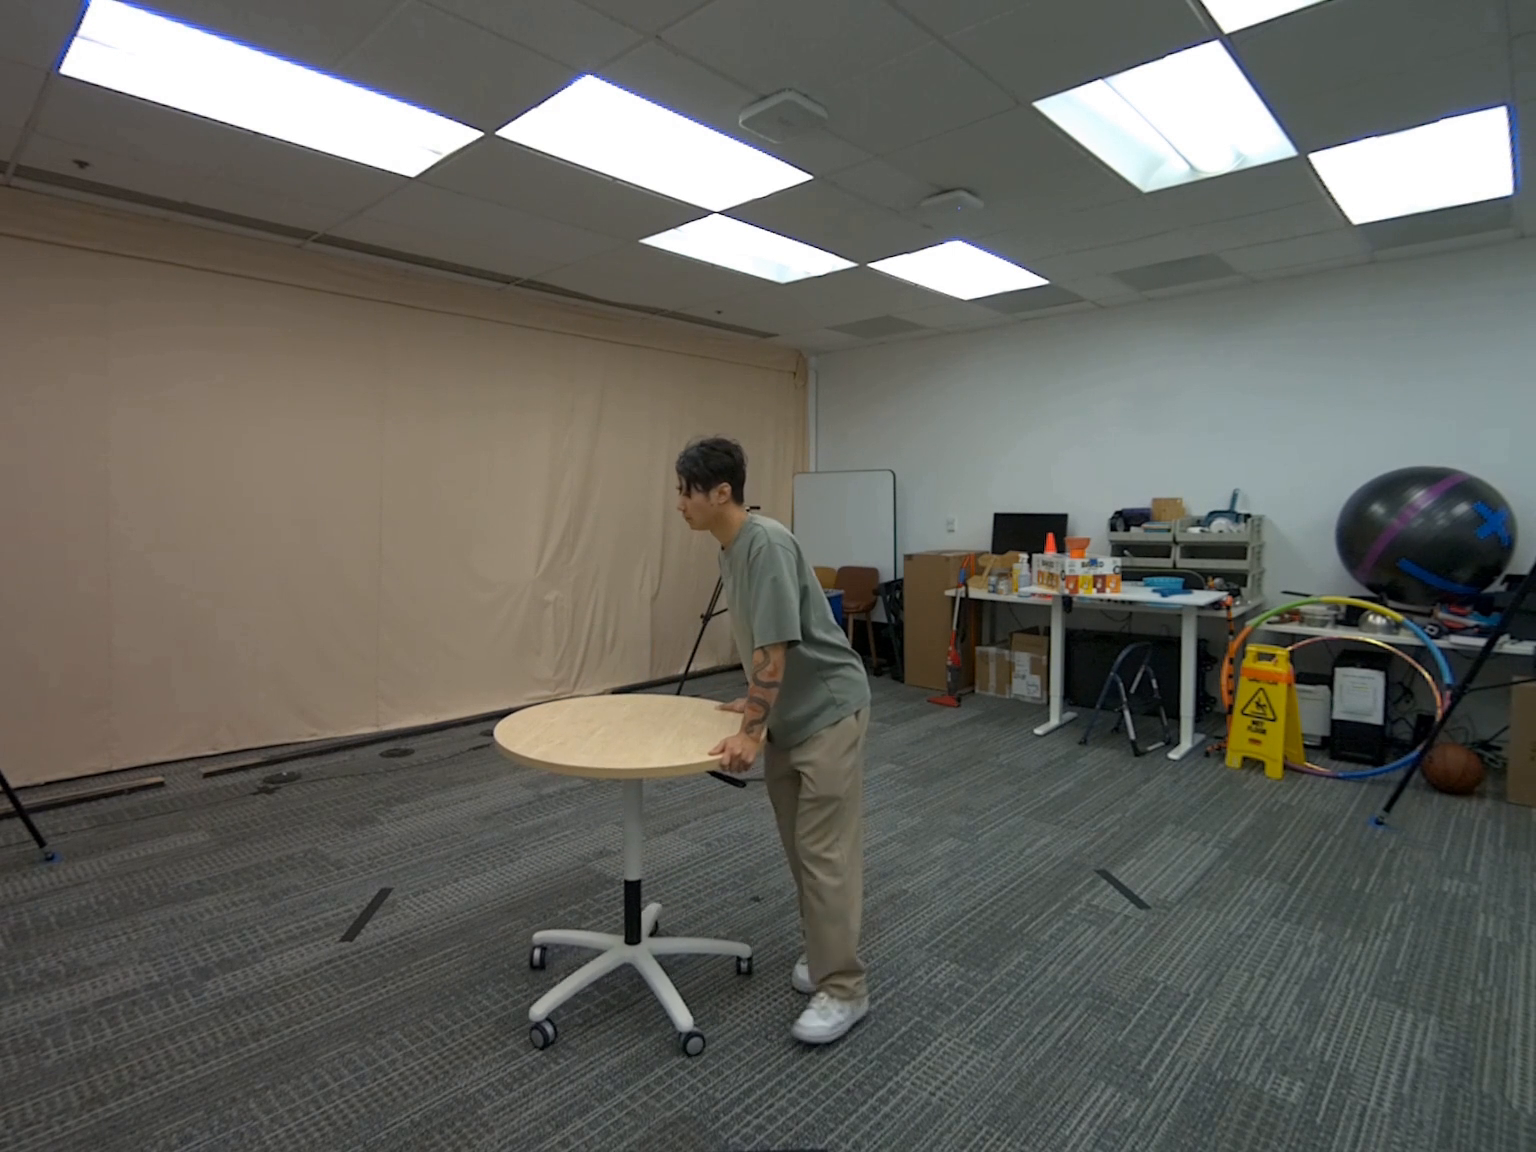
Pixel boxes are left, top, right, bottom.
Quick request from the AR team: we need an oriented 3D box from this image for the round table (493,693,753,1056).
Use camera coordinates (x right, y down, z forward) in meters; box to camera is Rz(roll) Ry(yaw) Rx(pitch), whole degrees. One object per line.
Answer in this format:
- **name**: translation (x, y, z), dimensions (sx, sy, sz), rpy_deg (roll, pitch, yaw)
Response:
- **round table**: translation (-0.402, 0.809, 2.424), dimensions (0.784, 0.785, 0.788), rpy_deg (1, 4, -2)
